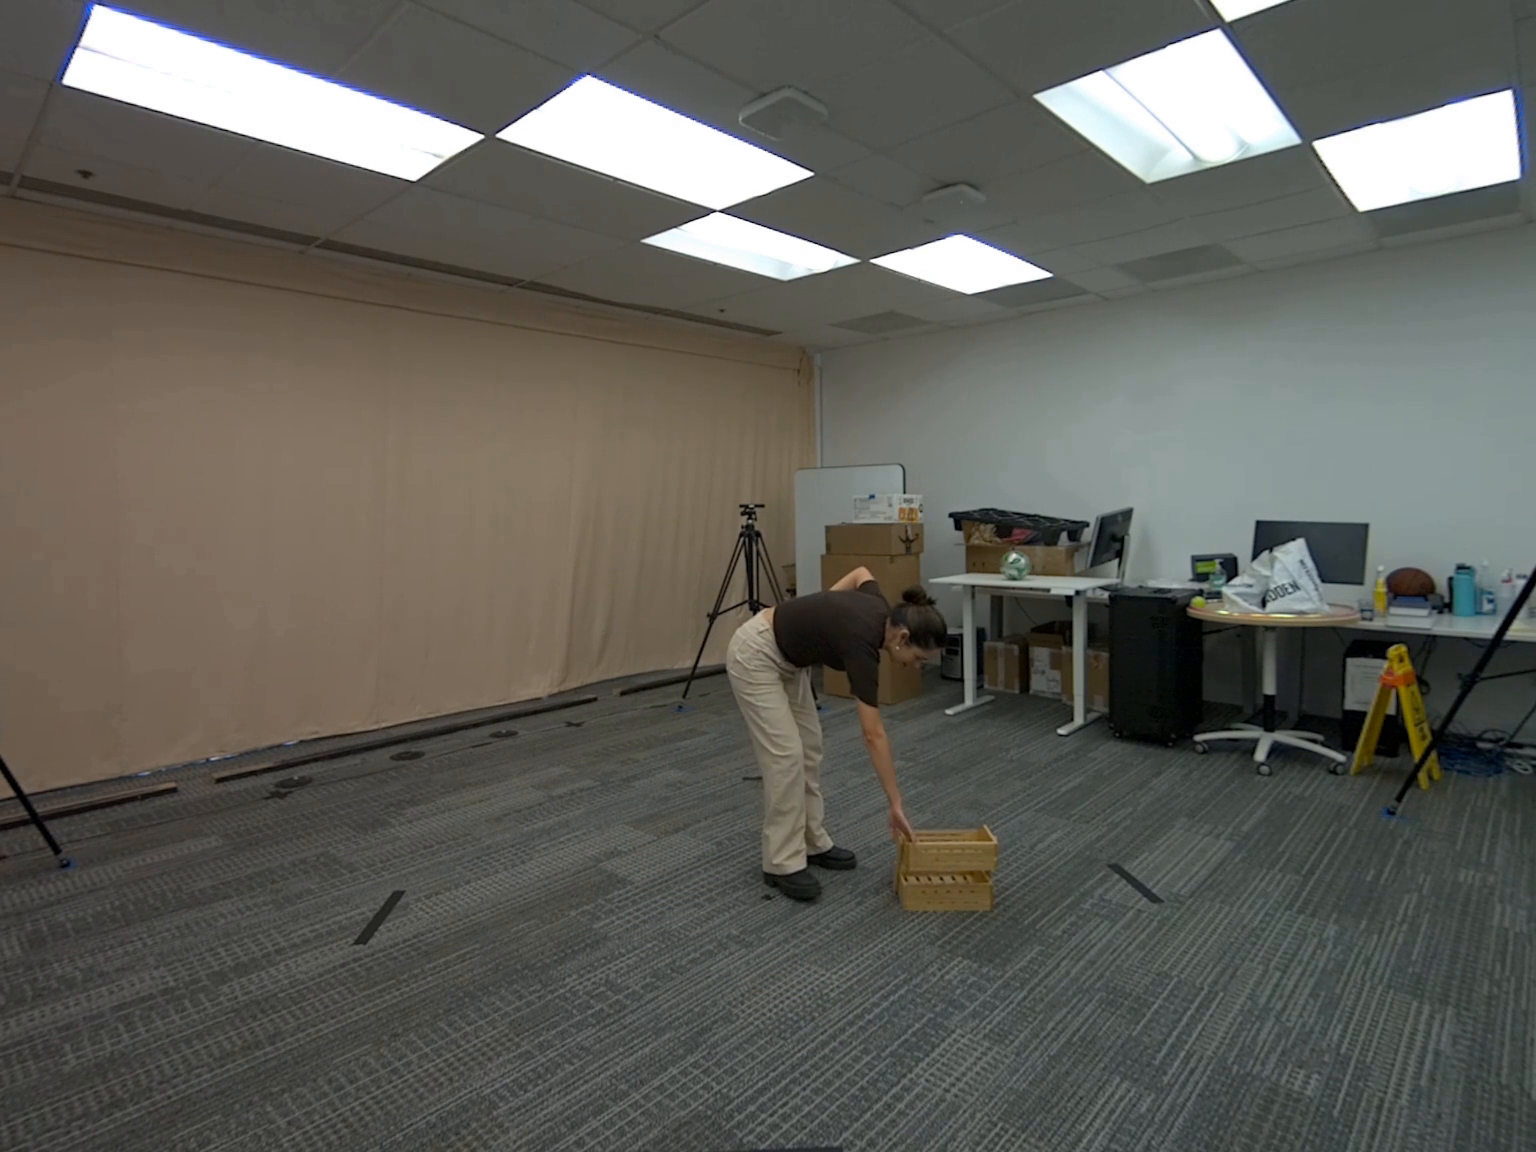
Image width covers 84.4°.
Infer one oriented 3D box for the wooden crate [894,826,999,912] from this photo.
[{"bbox_3d":[0.614,0.996,2.948,0.325,0.272,0.303,-1,6,0],"label":"wooden crate"}]
